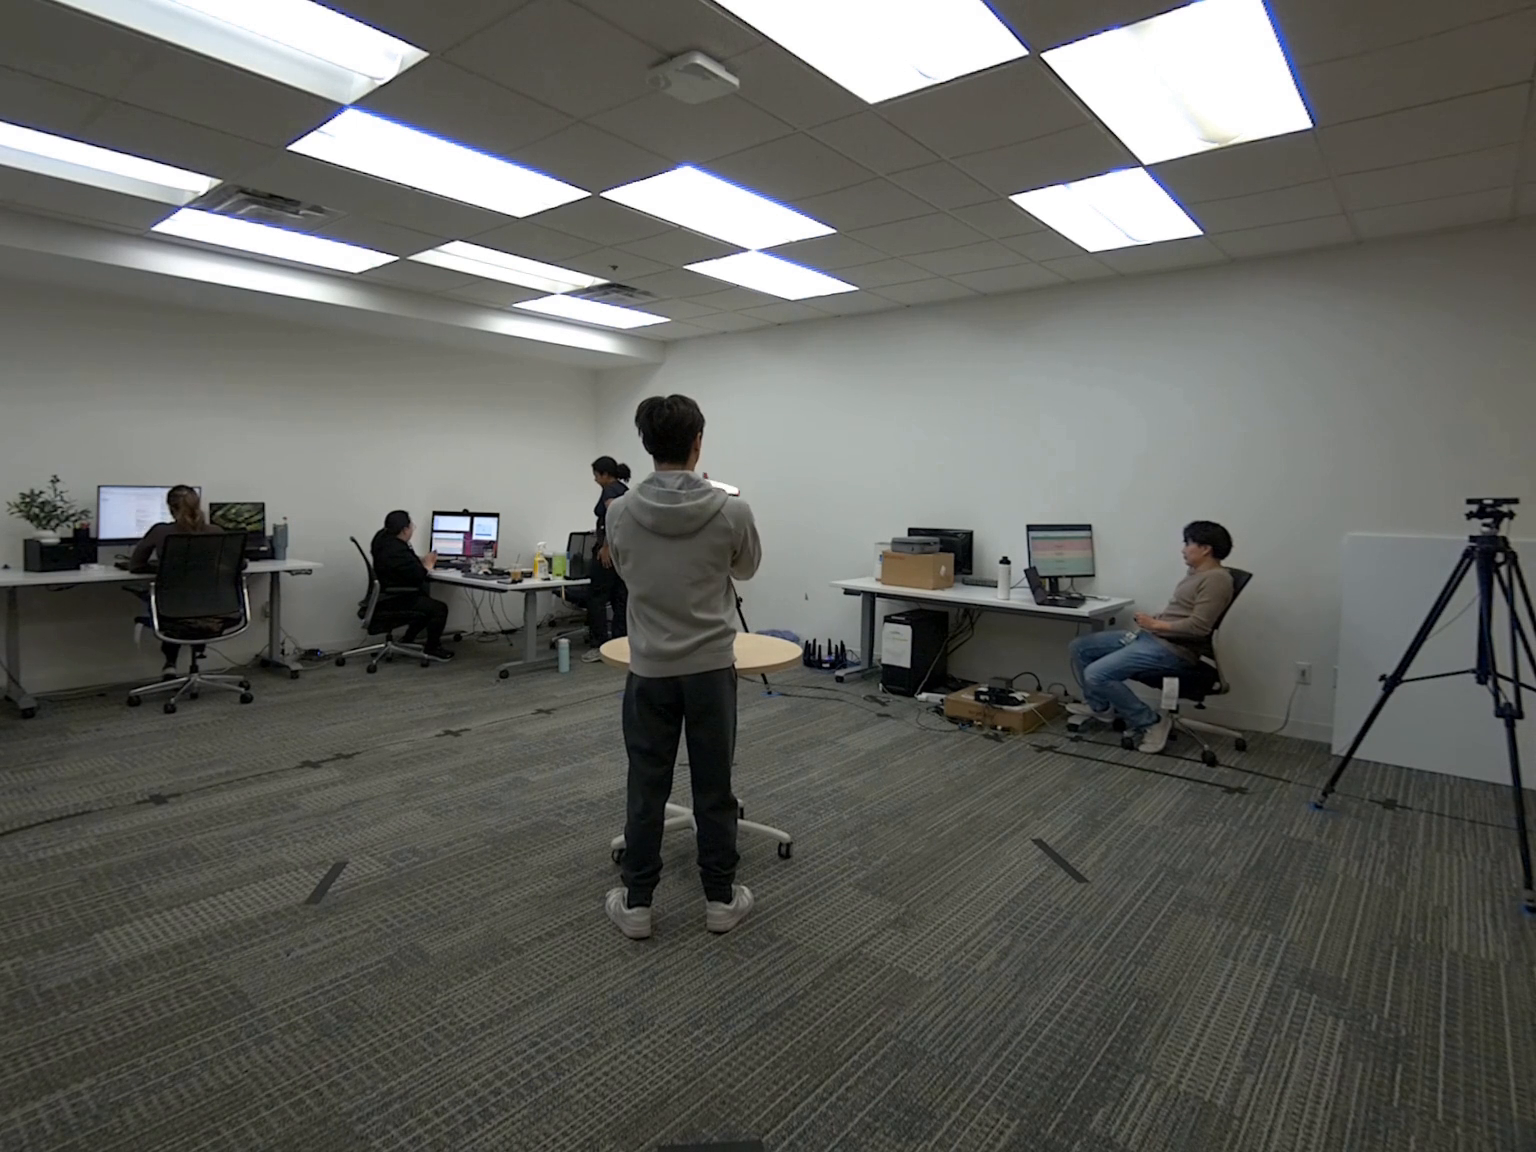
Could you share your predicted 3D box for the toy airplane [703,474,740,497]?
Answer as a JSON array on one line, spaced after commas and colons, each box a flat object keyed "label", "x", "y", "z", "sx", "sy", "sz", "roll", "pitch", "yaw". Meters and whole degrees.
[{"label": "toy airplane", "x": -0.219, "y": -0.227, "z": 3.053, "sx": 0.244, "sy": 0.155, "sz": 0.269, "roll": 1, "pitch": 17, "yaw": -33}]
